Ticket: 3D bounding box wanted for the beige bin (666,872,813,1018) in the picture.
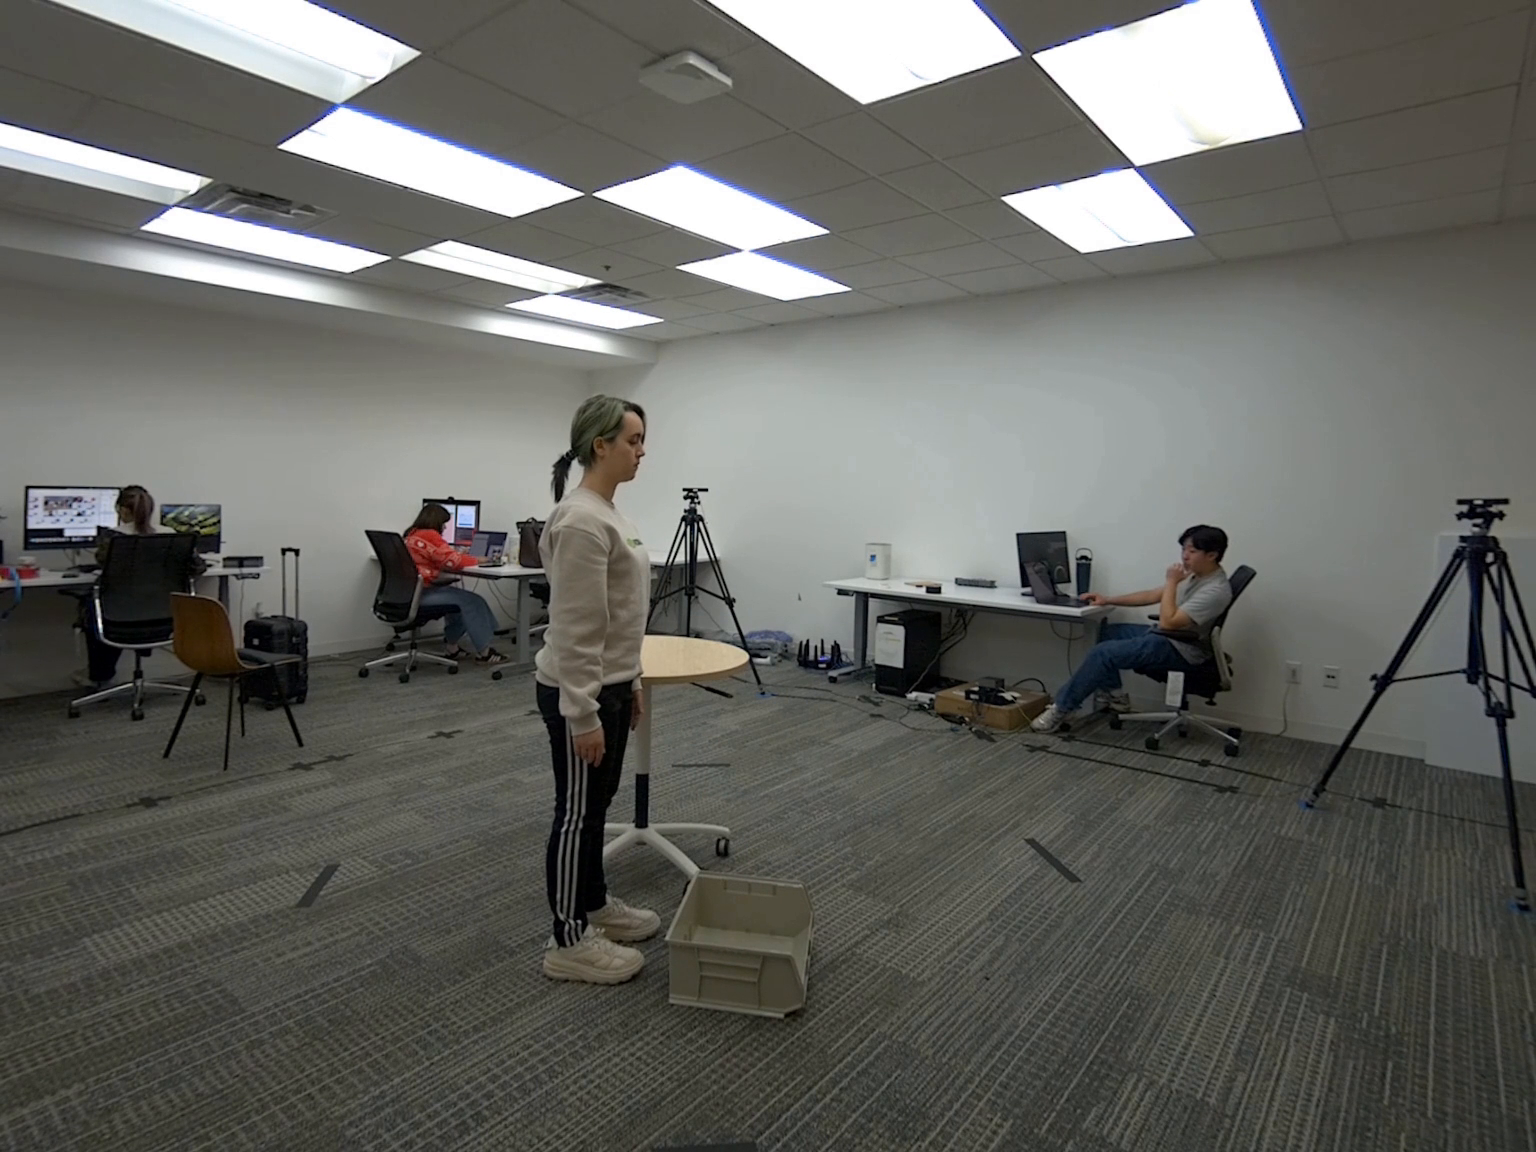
[{"bbox_3d":[-0.068,1.054,2.452,0.381,0.188,0.420,2,6,8],"label":"beige bin"}]
